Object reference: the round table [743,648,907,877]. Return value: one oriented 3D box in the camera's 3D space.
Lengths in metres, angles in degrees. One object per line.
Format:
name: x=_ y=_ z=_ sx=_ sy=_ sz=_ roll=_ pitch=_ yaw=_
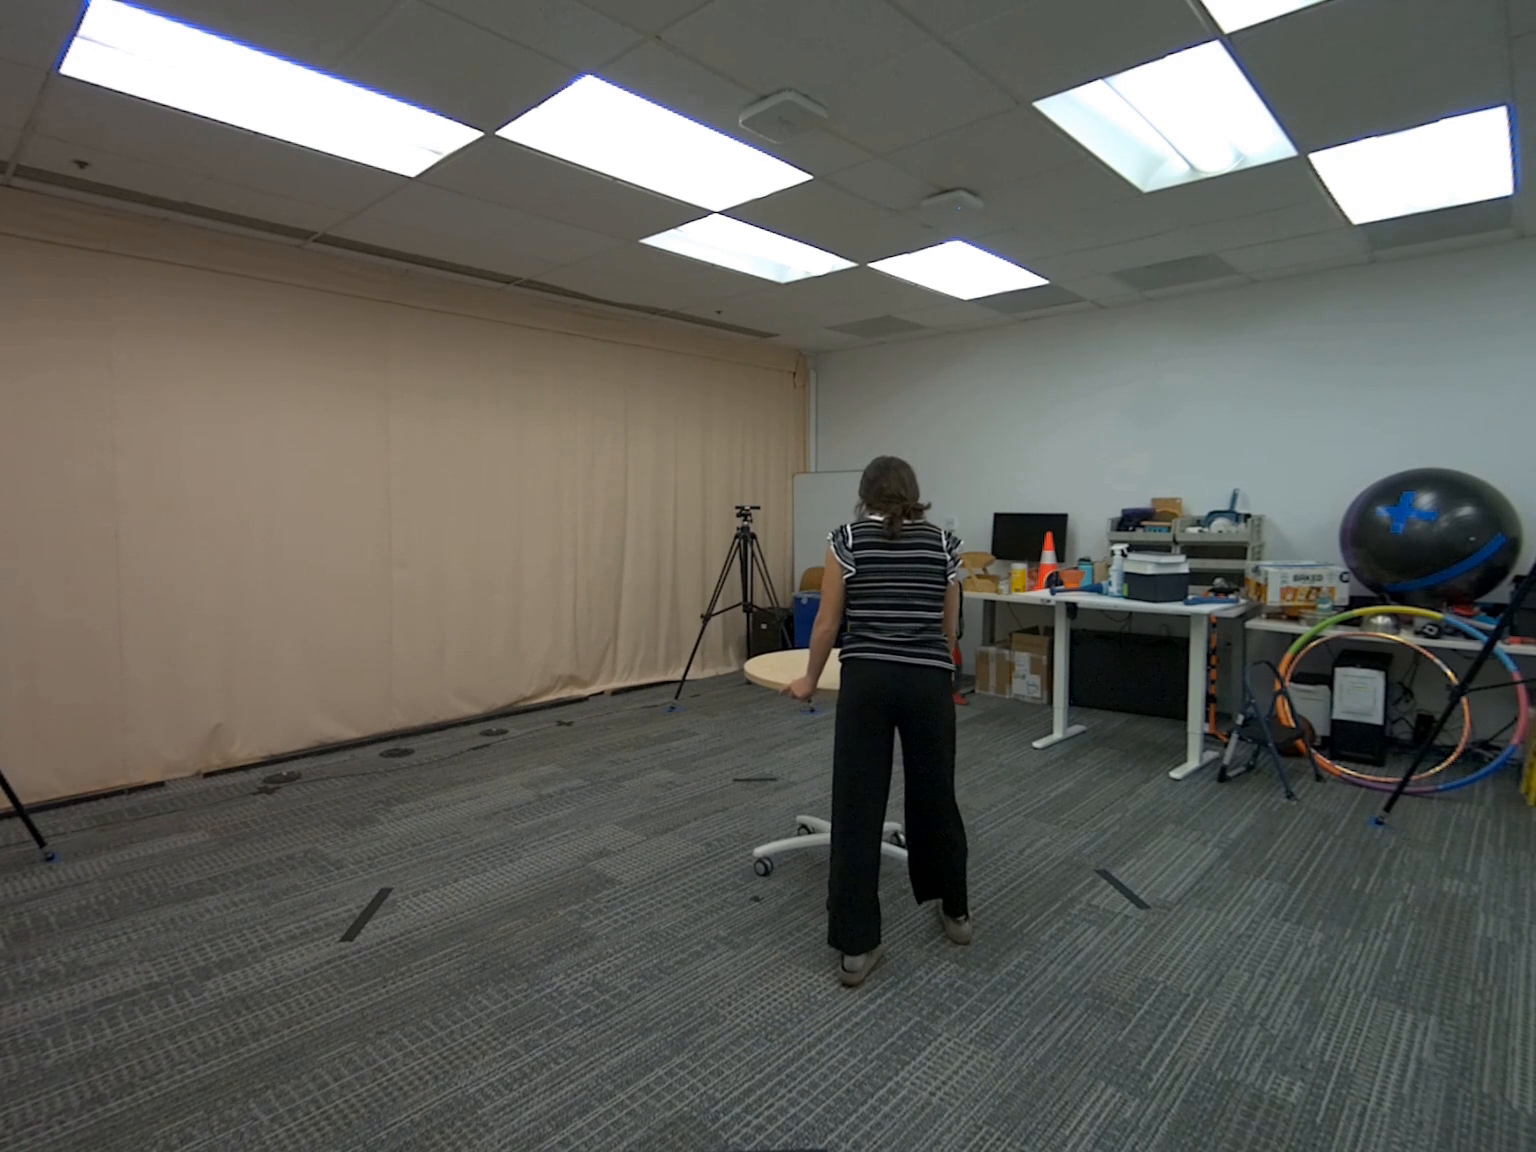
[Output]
round table: x=0.291 y=0.736 z=3.211 sx=0.763 sy=0.792 sz=0.767 roll=0 pitch=4 yaw=-2
